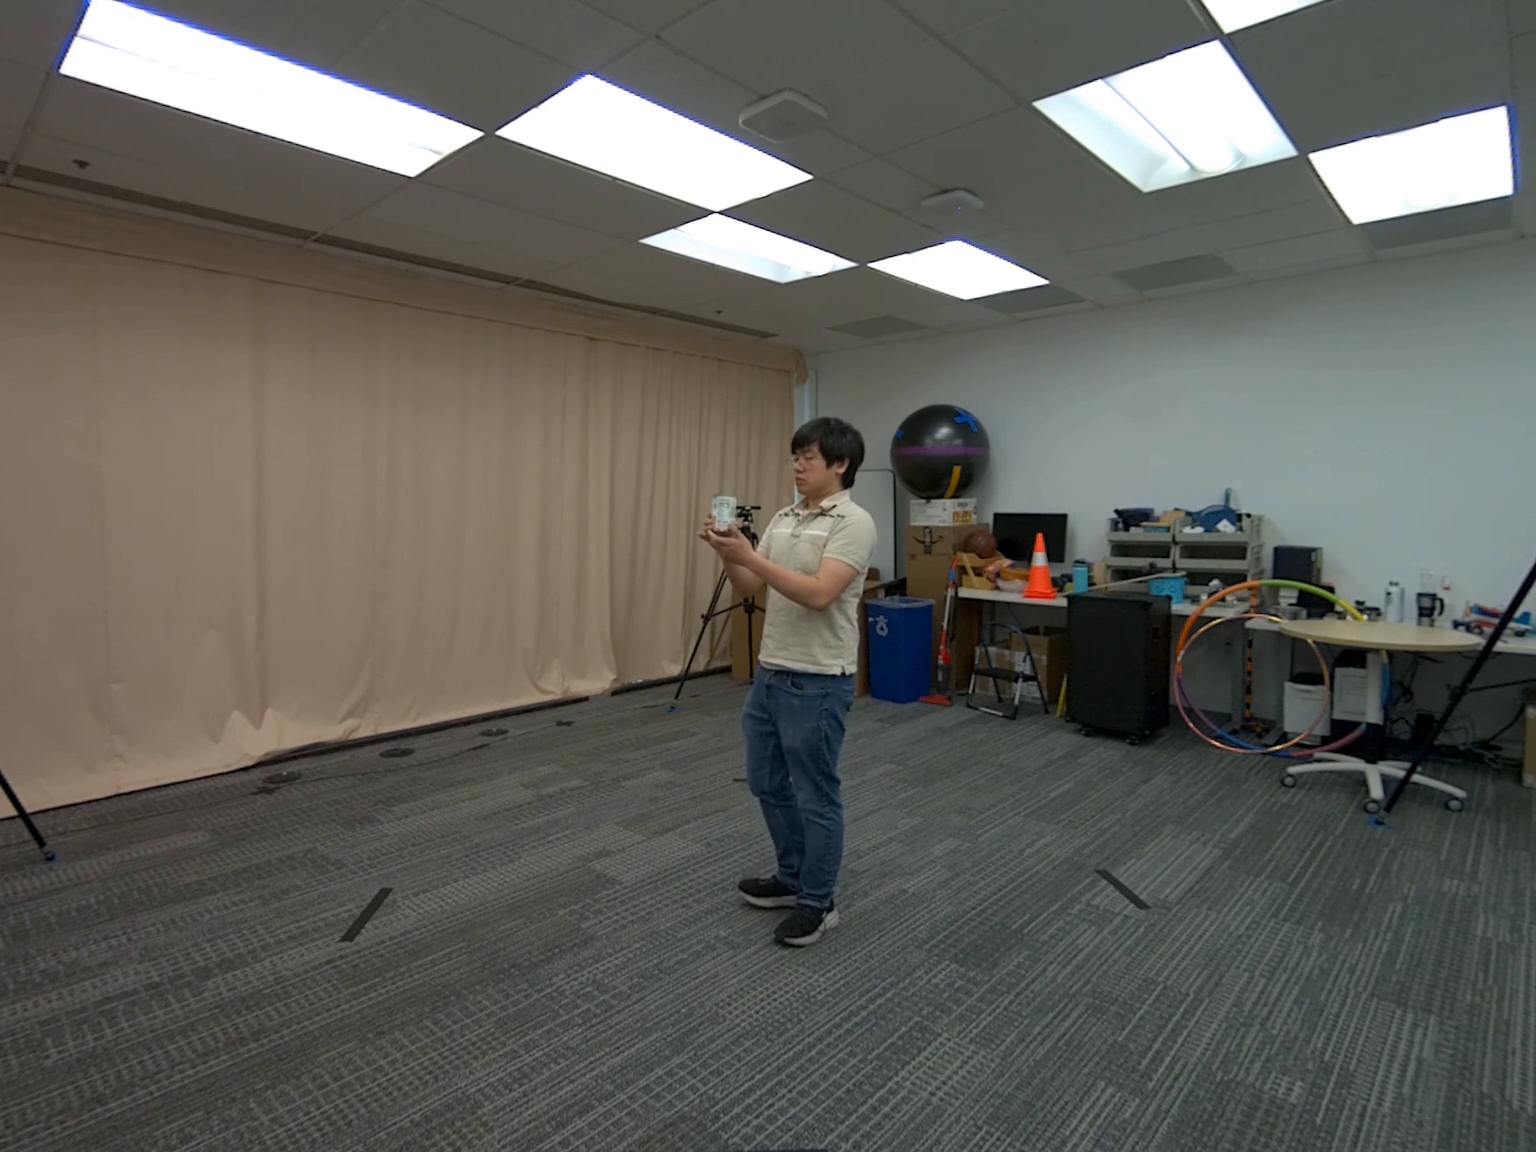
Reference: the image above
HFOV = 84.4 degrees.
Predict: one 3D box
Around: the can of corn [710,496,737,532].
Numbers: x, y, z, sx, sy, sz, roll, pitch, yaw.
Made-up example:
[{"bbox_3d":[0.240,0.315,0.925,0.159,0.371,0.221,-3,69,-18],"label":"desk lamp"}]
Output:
[{"bbox_3d":[-0.132,-0.189,2.562,0.074,0.111,0.074,4,-2,-2],"label":"can of corn"}]
